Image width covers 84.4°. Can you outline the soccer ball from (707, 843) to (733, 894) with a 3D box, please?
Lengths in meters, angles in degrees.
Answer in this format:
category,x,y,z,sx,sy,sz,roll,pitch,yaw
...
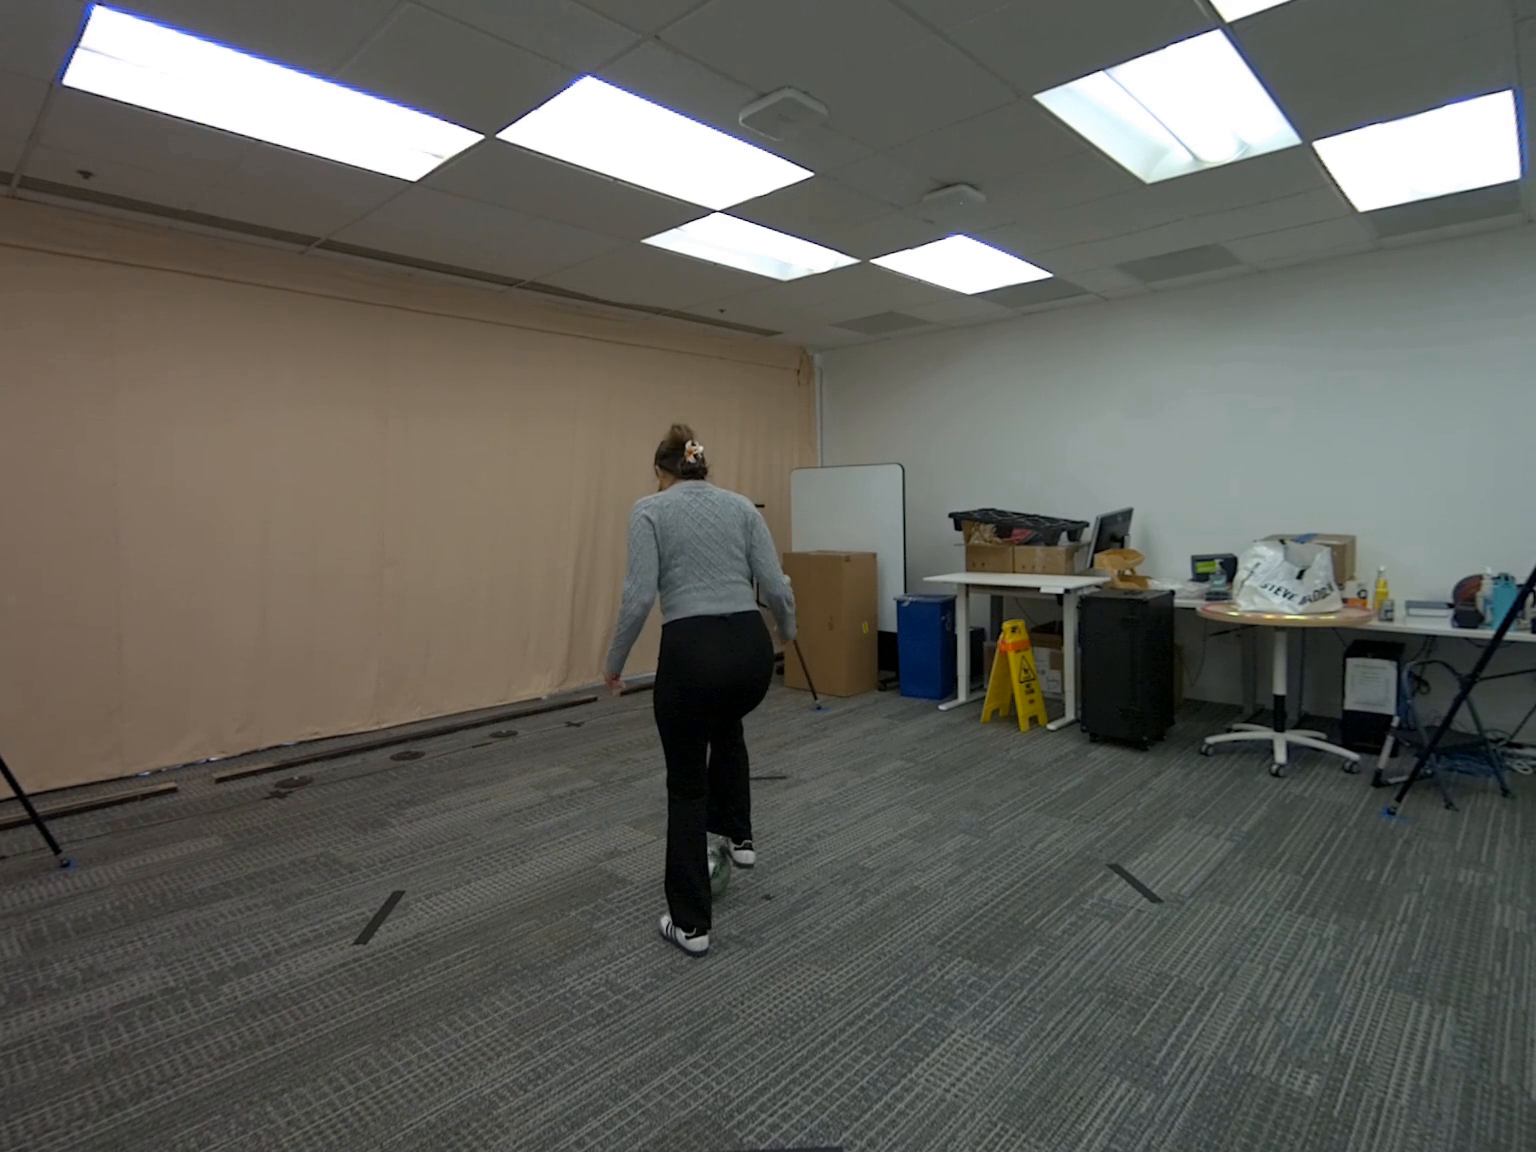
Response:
category,x,y,z,sx,sy,sz,roll,pitch,yaw
soccer ball,-0.217,1.053,2.978,0.187,0.187,0.188,-1,4,-2
